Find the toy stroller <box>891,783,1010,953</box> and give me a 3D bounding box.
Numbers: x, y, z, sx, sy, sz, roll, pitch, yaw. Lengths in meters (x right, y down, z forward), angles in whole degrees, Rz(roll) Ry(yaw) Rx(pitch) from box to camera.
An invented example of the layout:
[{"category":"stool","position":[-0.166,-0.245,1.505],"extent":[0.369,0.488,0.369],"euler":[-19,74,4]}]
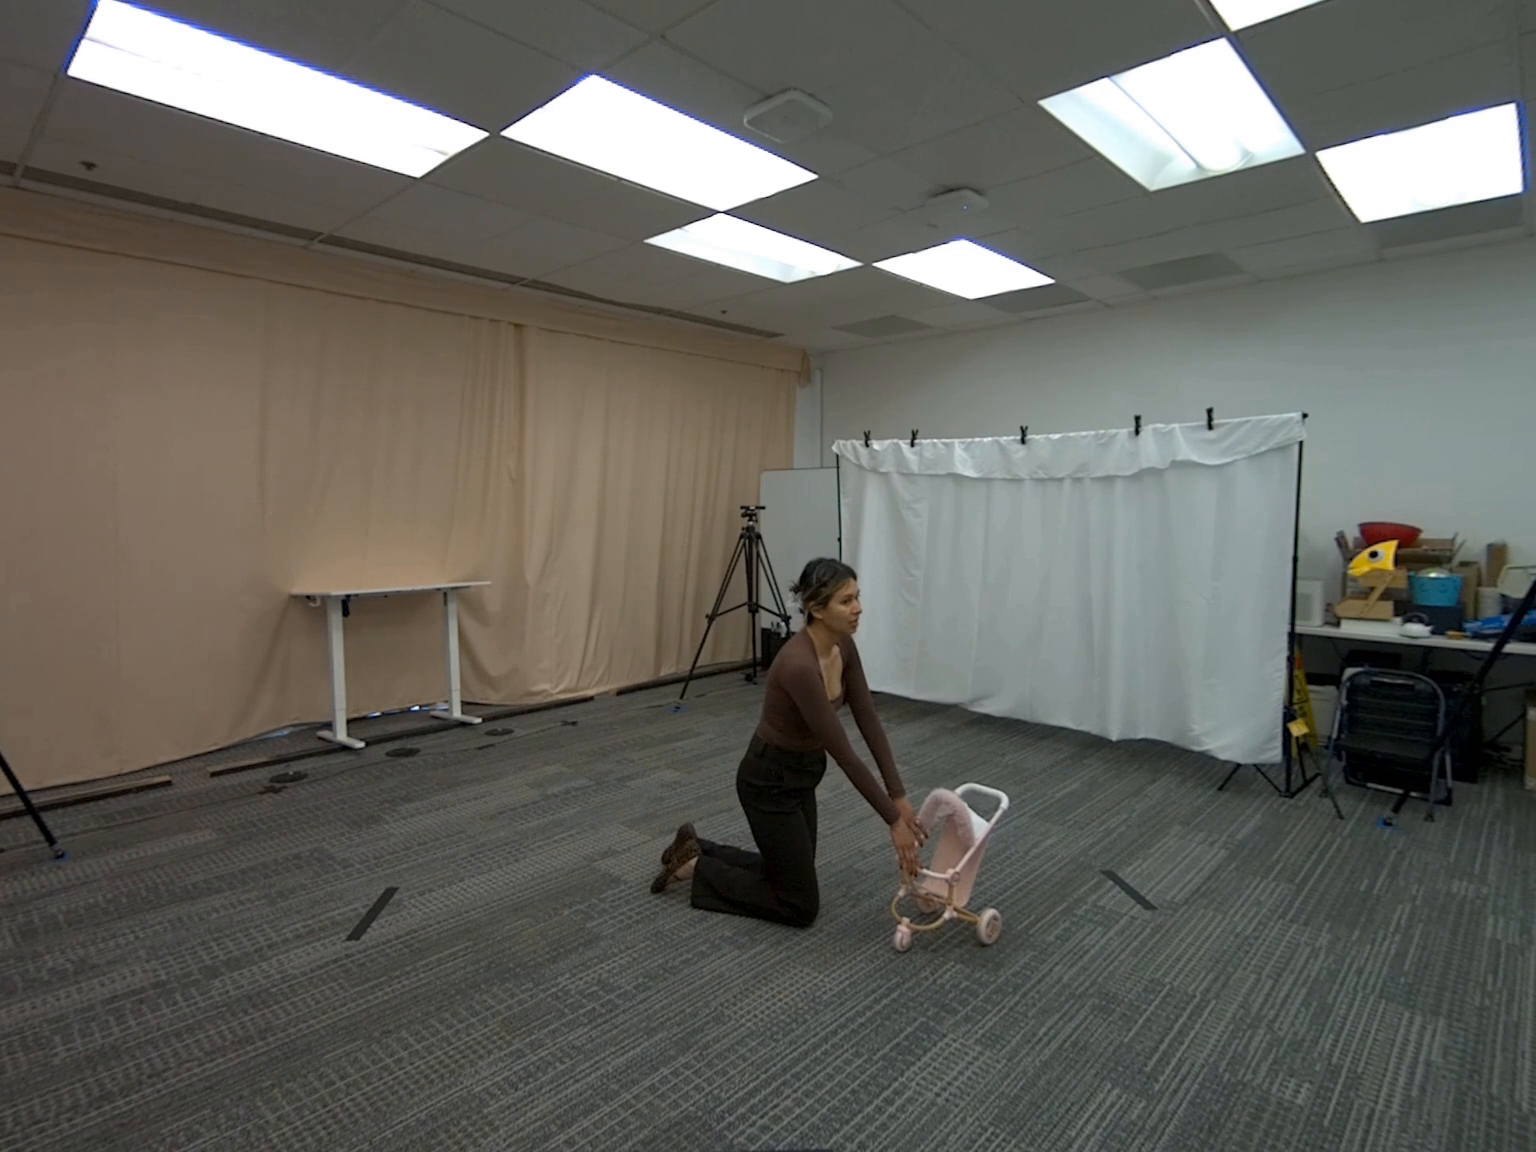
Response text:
[{"category":"toy stroller","position":[0.569,0.932,2.733],"extent":[0.330,0.536,0.290],"euler":[16,-7,-33]}]
